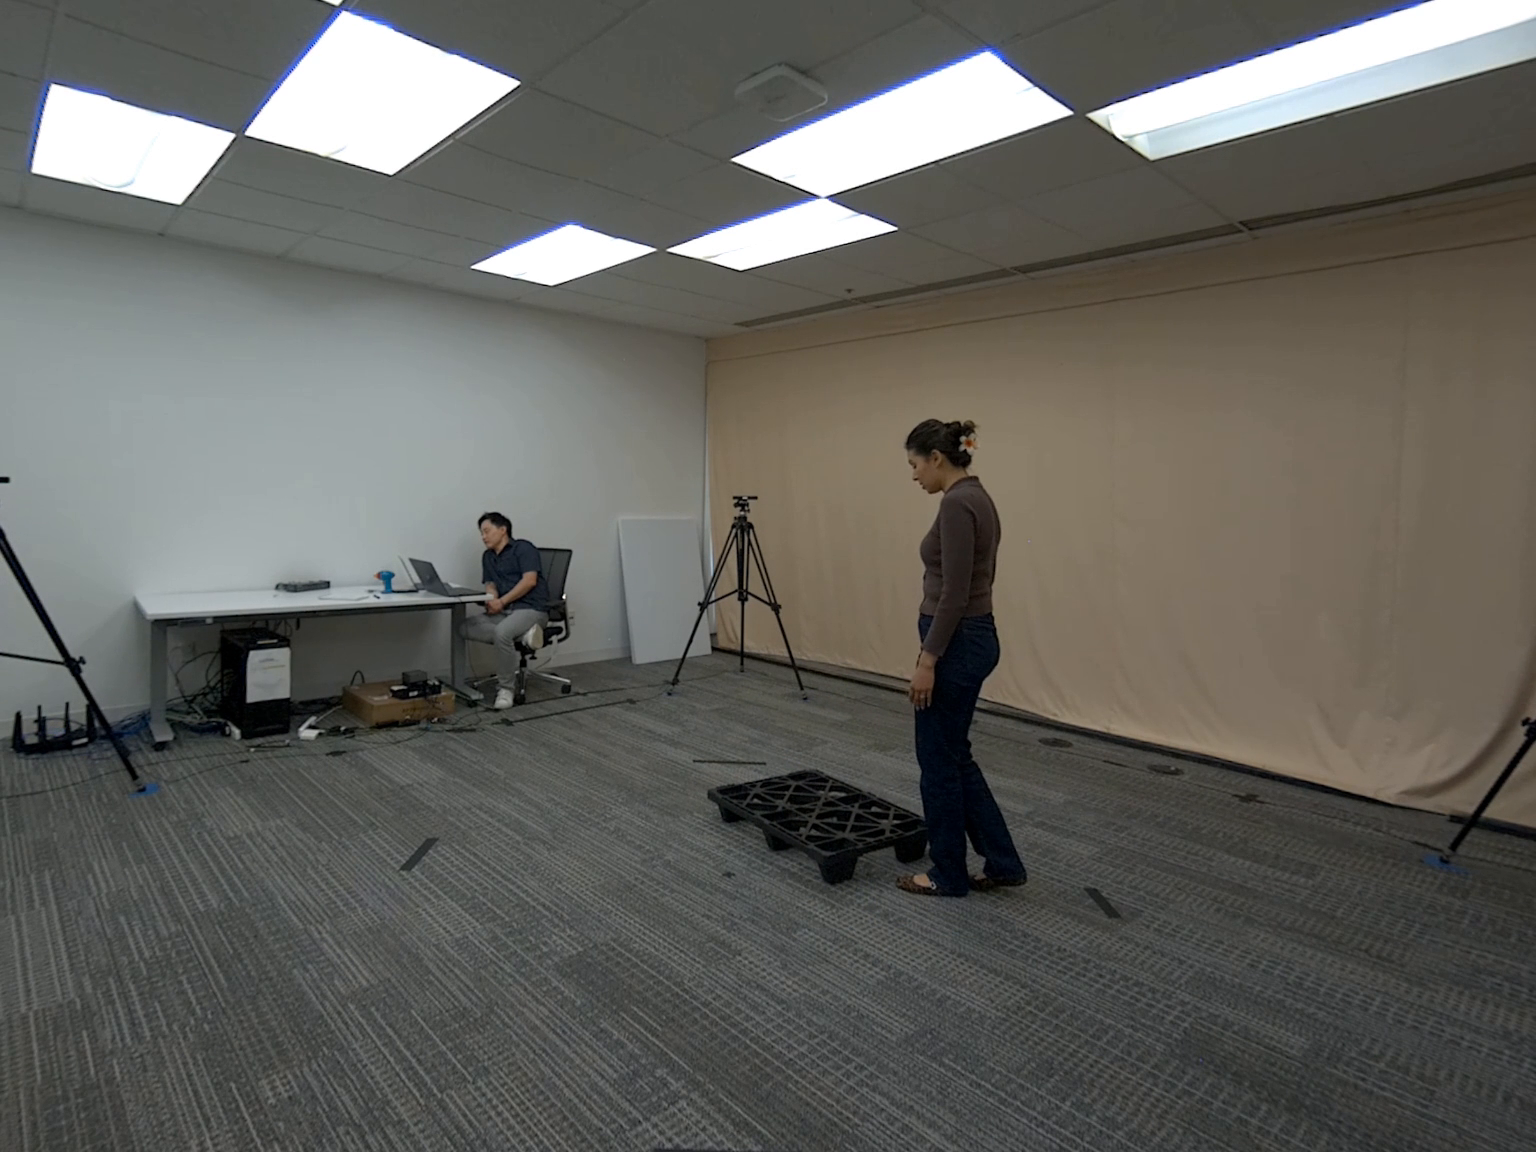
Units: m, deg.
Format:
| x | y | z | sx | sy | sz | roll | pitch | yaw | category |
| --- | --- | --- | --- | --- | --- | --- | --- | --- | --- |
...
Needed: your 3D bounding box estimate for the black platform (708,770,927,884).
| x | y | z | sx | sy | sz | roll | pitch | yaw | category |
| --- | --- | --- | --- | --- | --- | --- | --- | --- | --- |
| 0.198 | 1.015 | 3.460 | 0.592 | 0.143 | 0.825 | -3 | 6 | -35 | black platform |
